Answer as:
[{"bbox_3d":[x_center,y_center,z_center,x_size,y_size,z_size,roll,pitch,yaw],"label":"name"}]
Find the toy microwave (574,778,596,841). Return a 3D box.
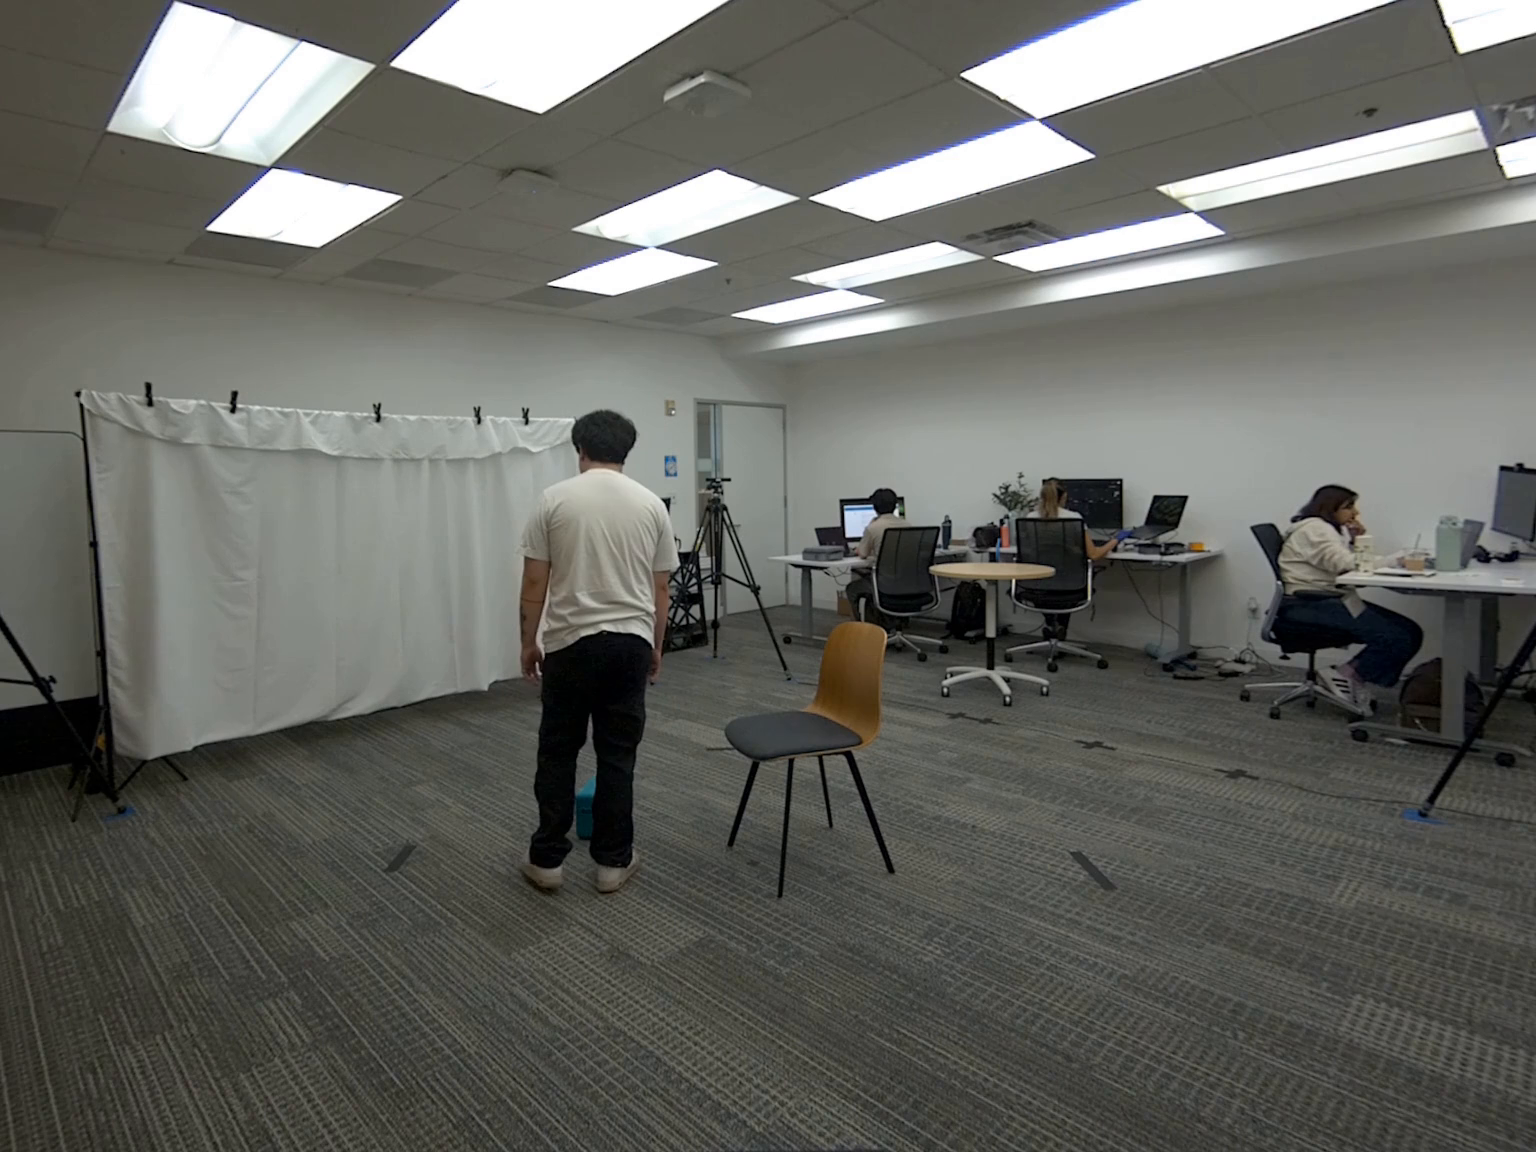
[{"bbox_3d":[-0.678,0.924,3.450,0.154,0.183,0.285,2,6,7],"label":"toy microwave"}]
